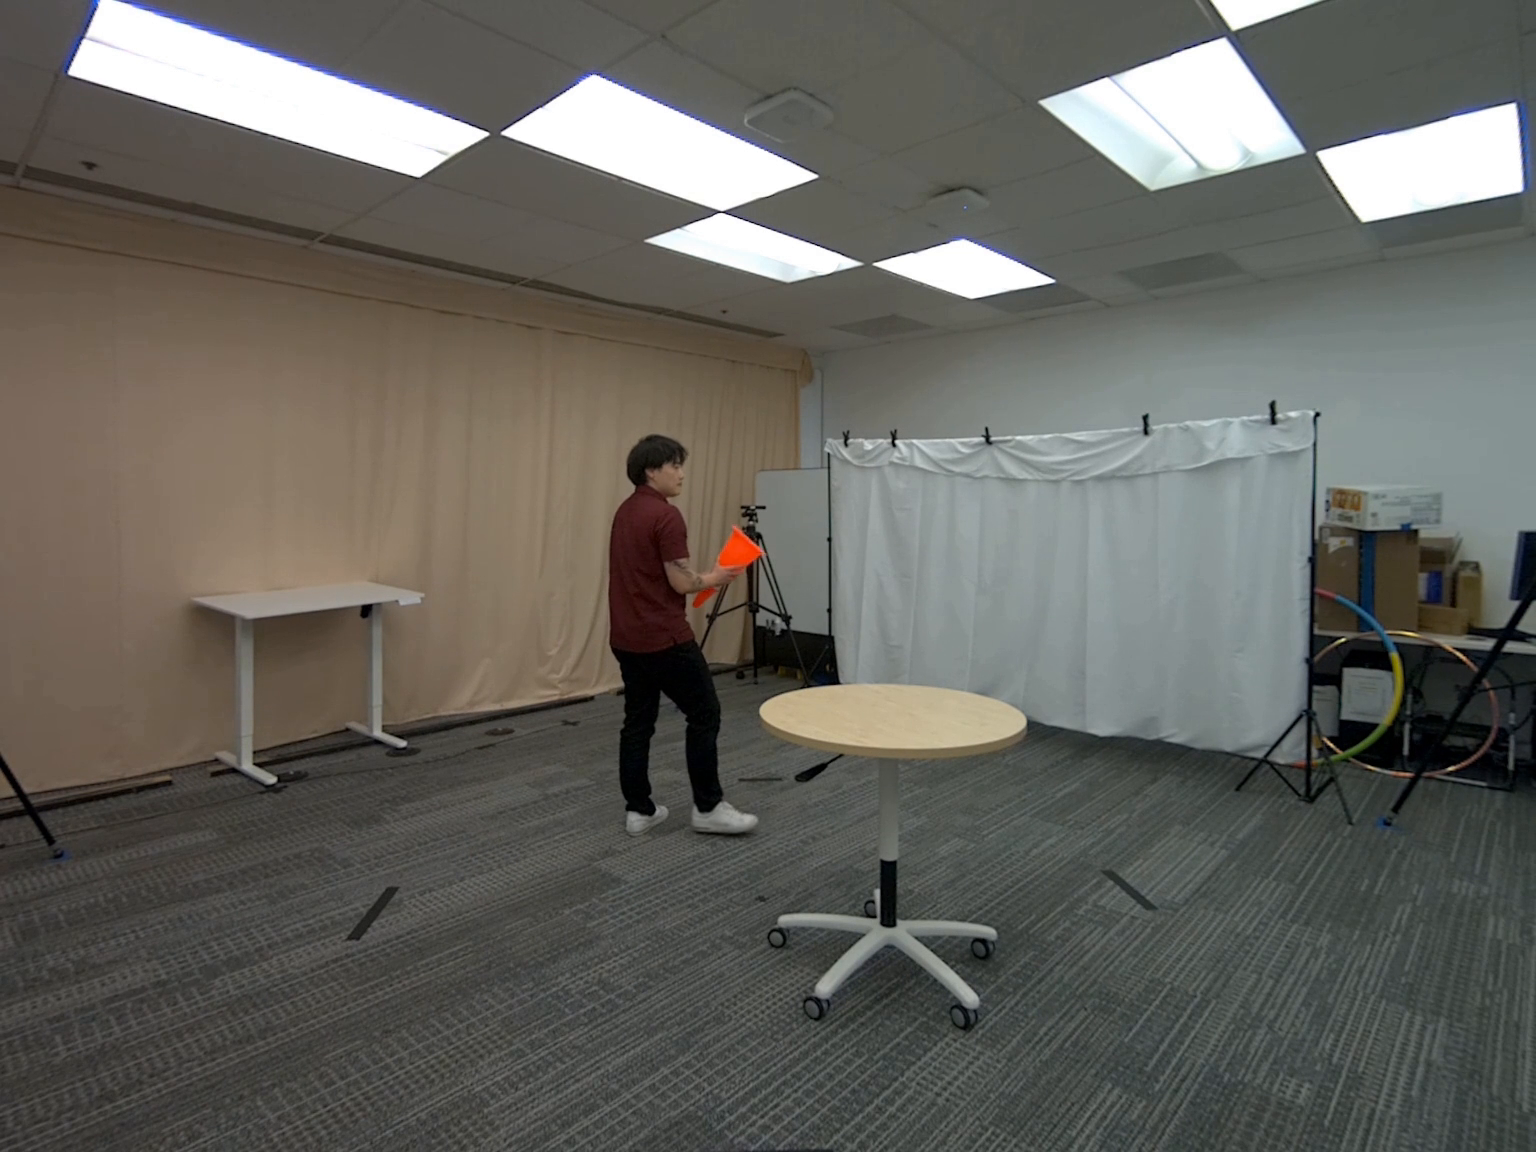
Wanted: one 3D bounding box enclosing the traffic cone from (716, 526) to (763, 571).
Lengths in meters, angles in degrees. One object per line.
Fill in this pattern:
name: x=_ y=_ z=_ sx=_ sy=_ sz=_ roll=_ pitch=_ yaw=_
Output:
traffic cone: x=-0.205 y=-0.003 z=3.681 sx=0.204 sy=0.384 sz=0.204 roll=40 pitch=2 yaw=2
